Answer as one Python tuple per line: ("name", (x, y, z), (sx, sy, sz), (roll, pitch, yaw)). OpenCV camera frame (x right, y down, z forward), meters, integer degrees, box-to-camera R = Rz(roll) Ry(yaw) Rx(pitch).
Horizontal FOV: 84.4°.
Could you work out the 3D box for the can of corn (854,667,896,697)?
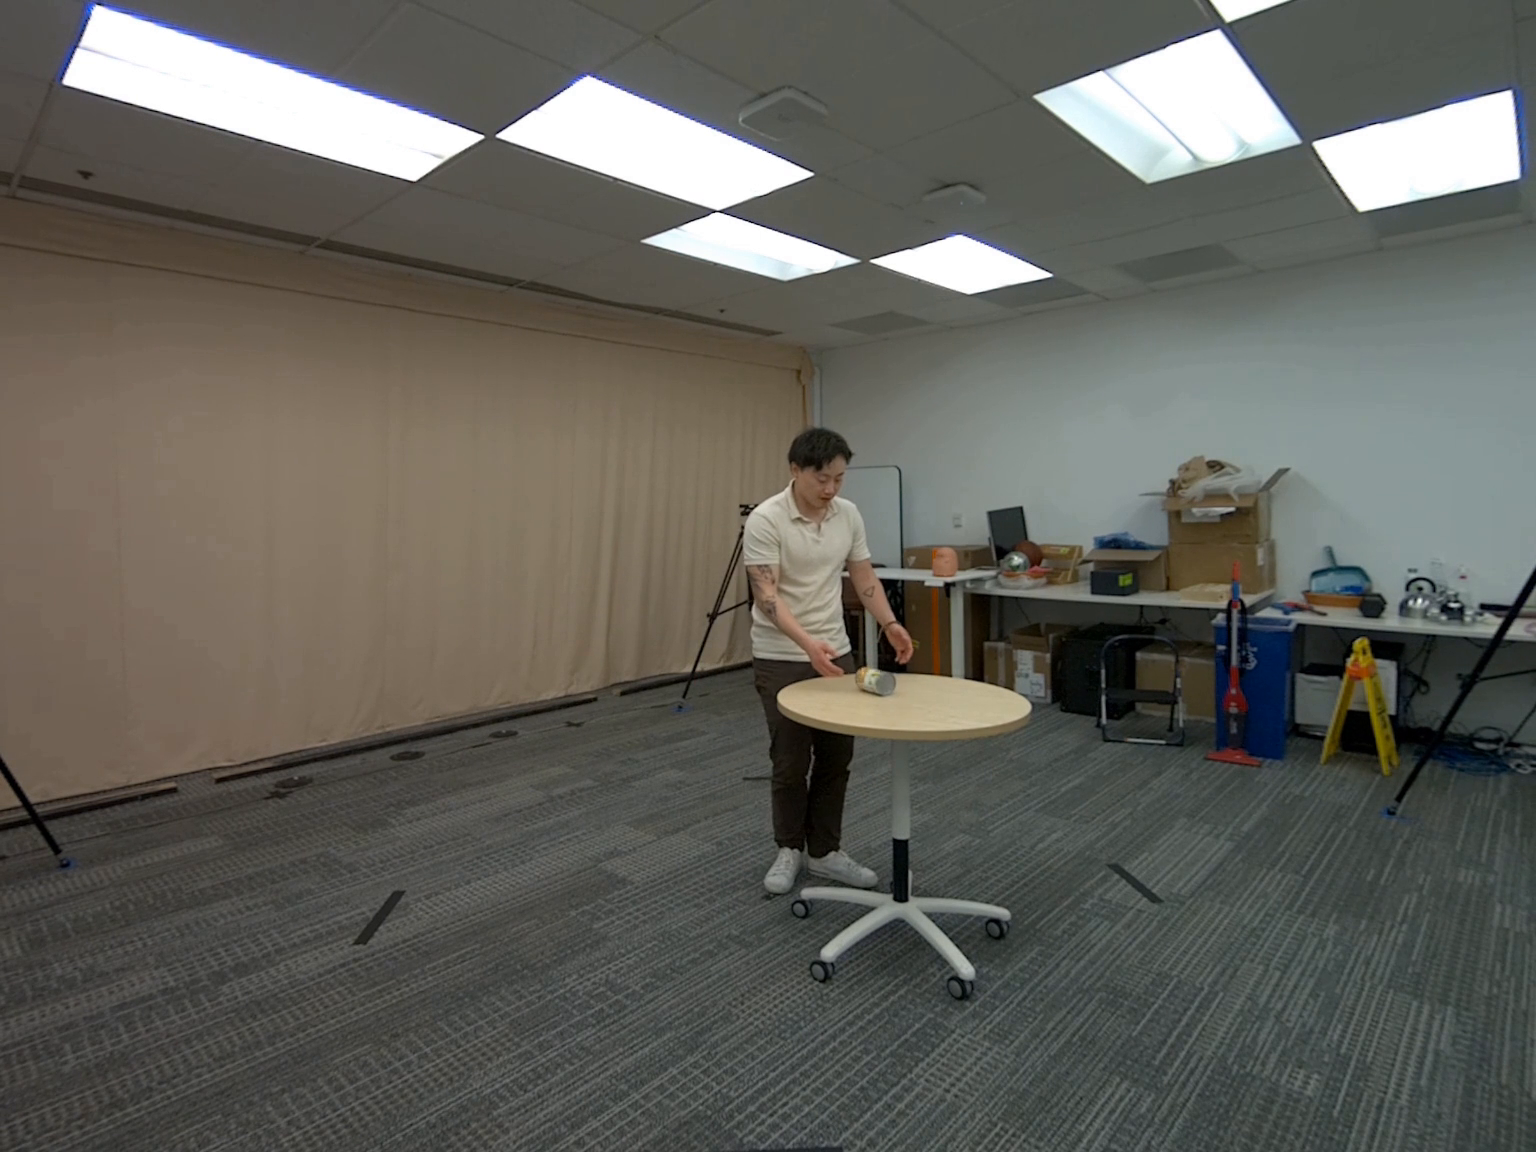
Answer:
("can of corn", (0.351, 0.335, 2.691), (0.073, 0.074, 0.113), (-2, 4, -19))
